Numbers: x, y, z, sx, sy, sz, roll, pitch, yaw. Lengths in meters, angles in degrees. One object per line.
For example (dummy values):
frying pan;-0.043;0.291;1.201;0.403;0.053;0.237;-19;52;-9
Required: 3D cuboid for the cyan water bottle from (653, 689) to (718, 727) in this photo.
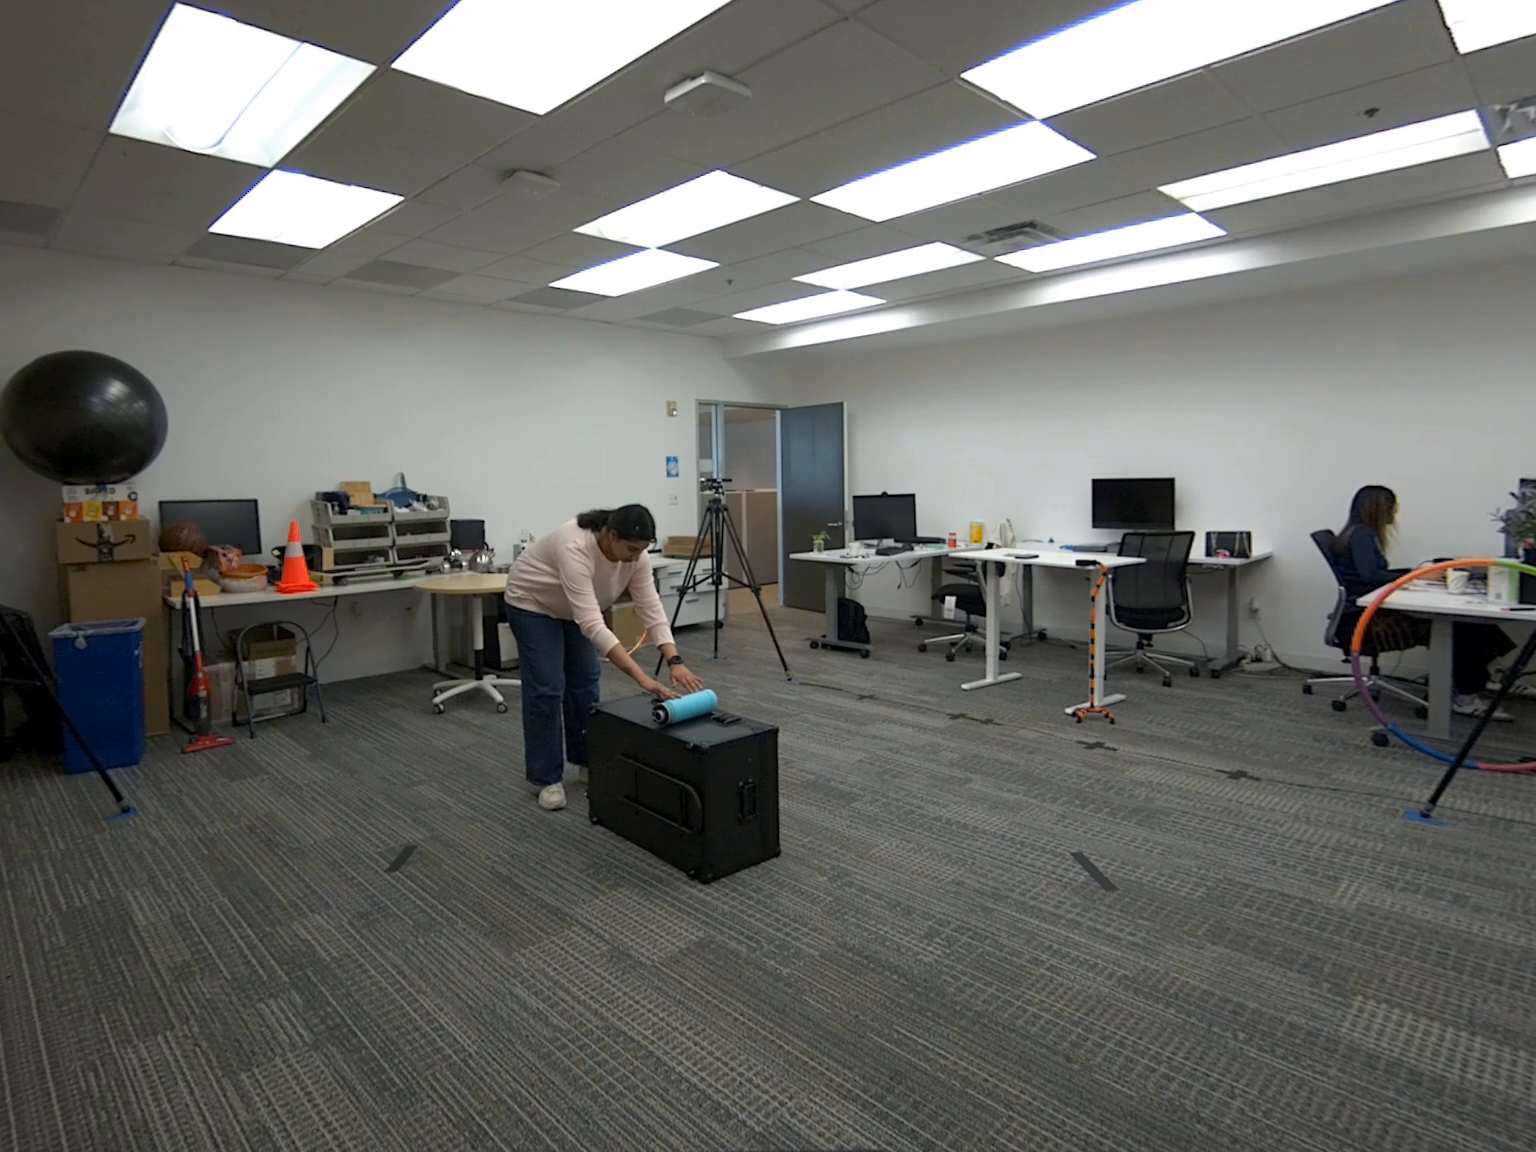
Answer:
cyan water bottle;-0.318;0.499;3.263;0.095;0.092;0.276;4;9;44
